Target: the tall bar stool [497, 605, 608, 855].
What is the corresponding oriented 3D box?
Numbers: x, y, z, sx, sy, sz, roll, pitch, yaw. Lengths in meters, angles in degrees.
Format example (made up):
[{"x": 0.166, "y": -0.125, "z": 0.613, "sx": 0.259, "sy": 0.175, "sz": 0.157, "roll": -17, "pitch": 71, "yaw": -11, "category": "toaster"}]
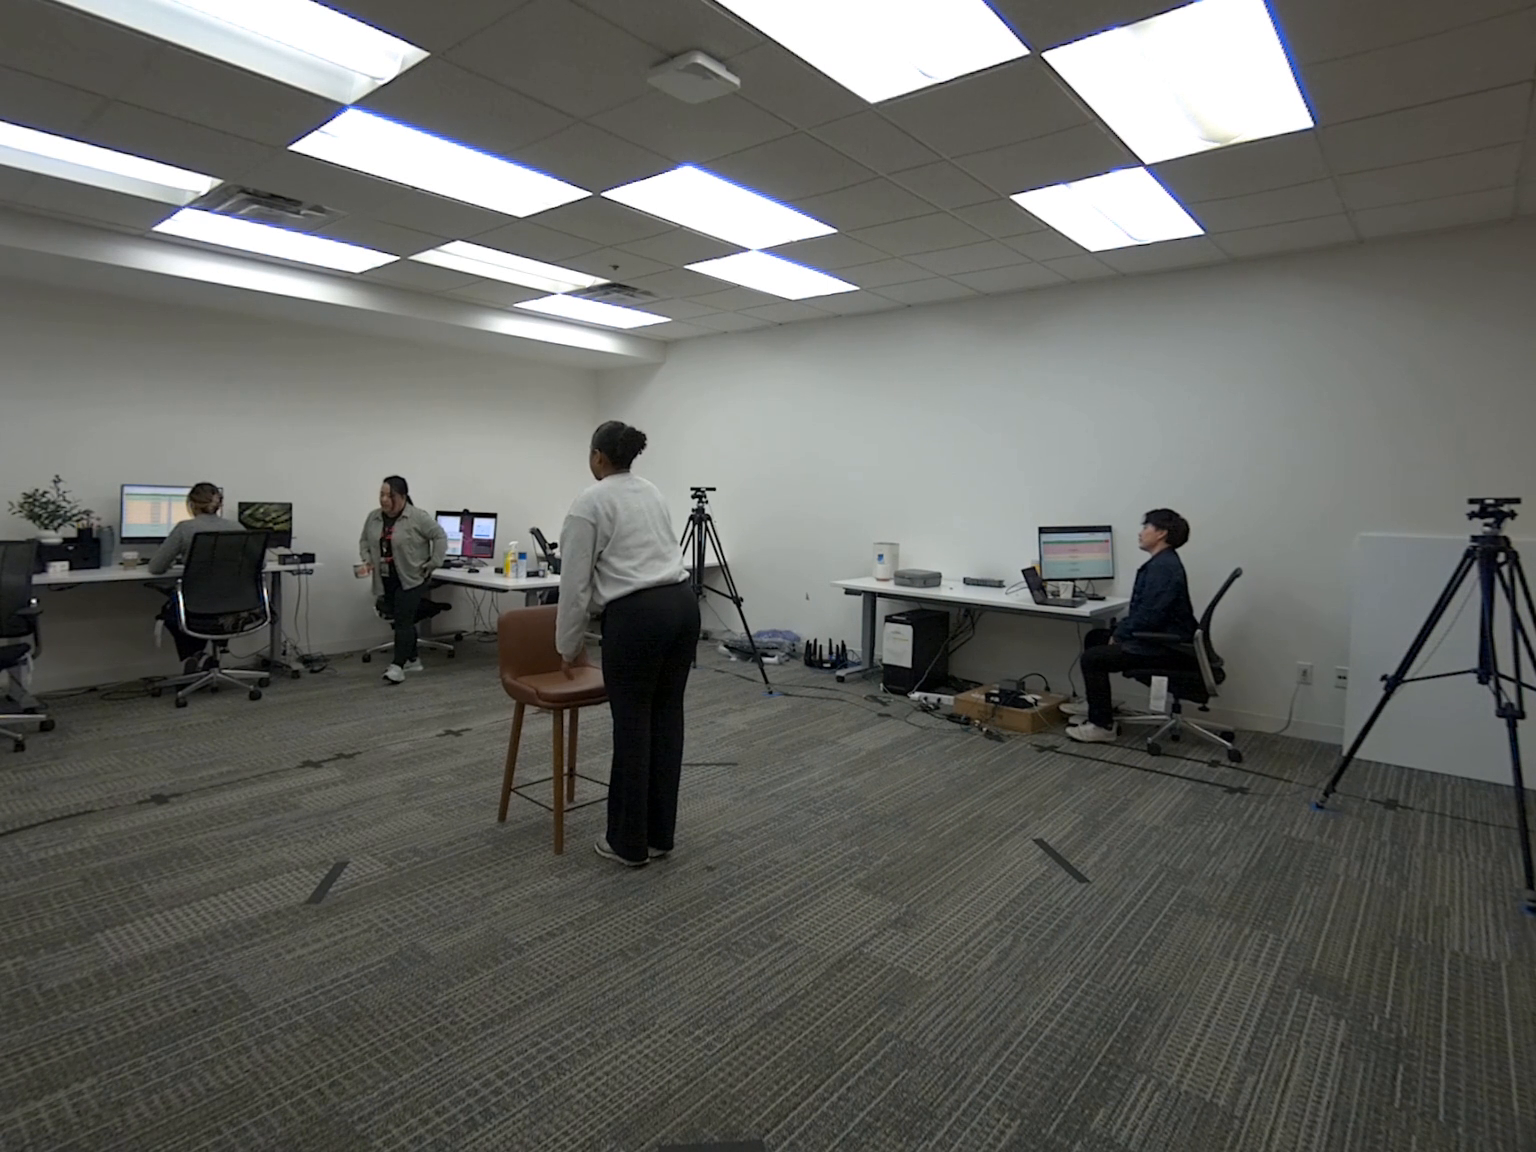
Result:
[{"x": -0.834, "y": 0.580, "z": 3.474, "sx": 0.483, "sy": 0.889, "sz": 0.442, "roll": 1, "pitch": 2, "yaw": 42, "category": "tall bar stool"}]
